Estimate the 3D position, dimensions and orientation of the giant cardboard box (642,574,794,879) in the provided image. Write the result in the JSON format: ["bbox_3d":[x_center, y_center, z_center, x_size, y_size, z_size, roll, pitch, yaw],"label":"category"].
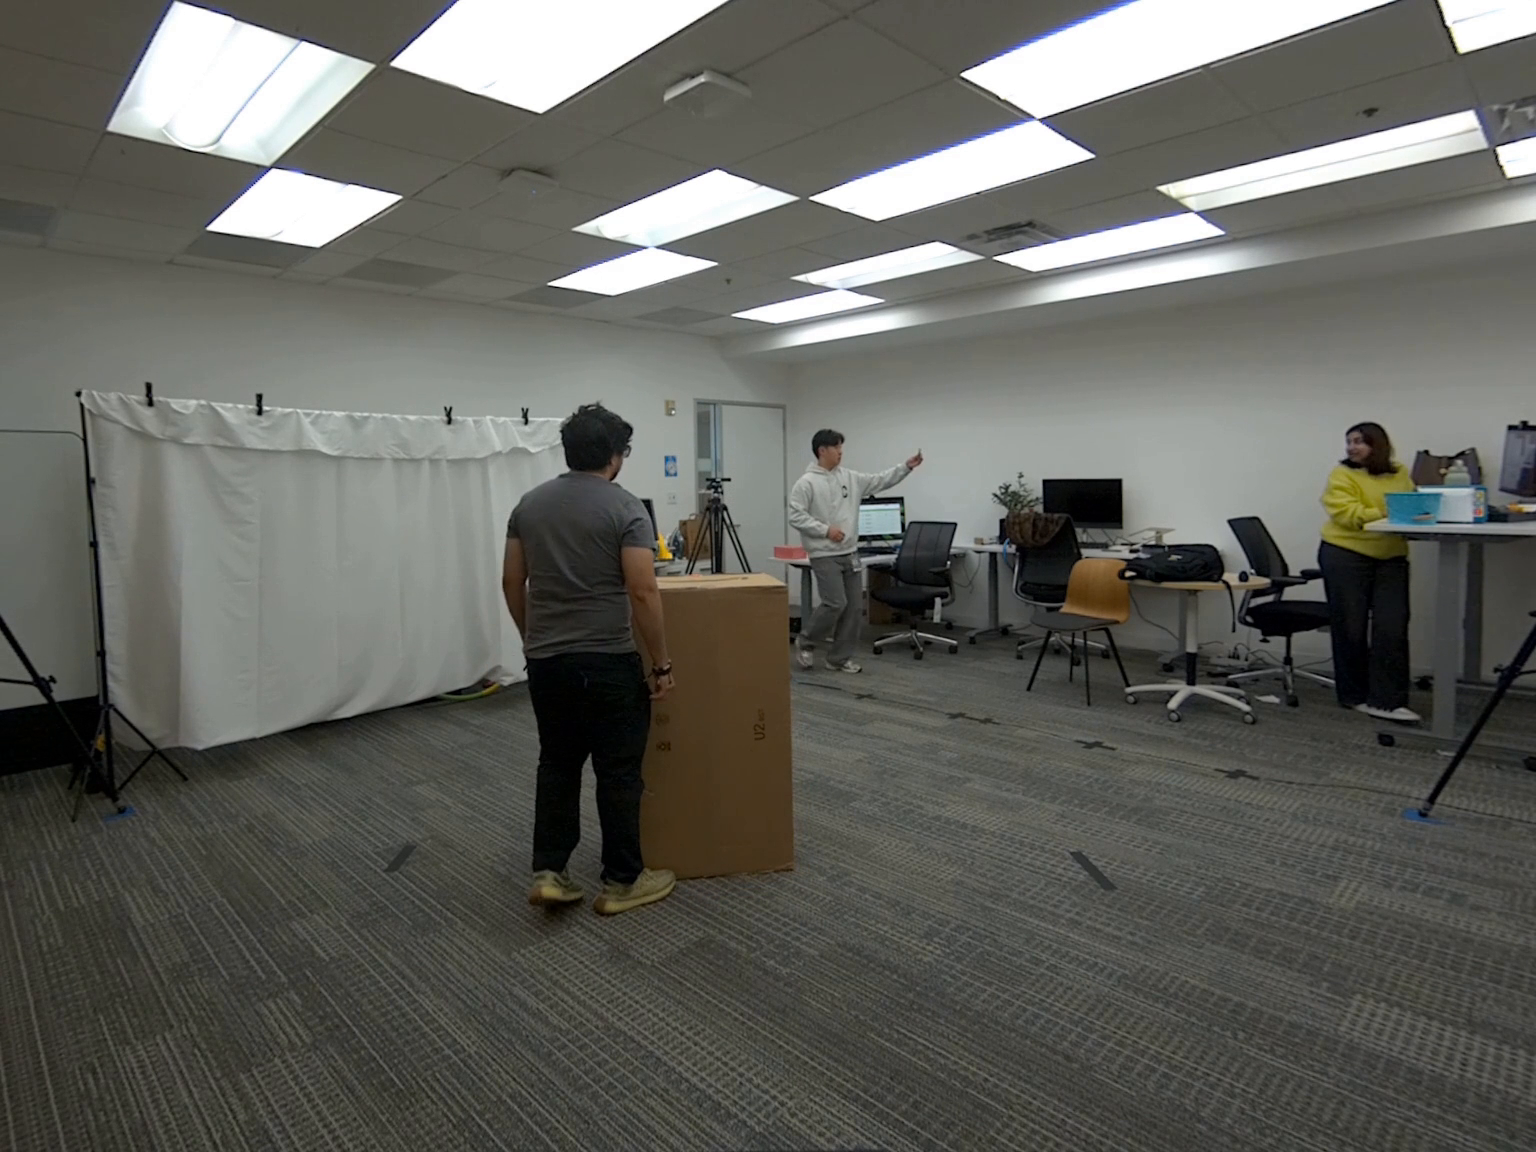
[{"bbox_3d":[-0.235,0.527,3.182,0.579,1.023,0.452,-2,4,-10],"label":"giant cardboard box"}]
